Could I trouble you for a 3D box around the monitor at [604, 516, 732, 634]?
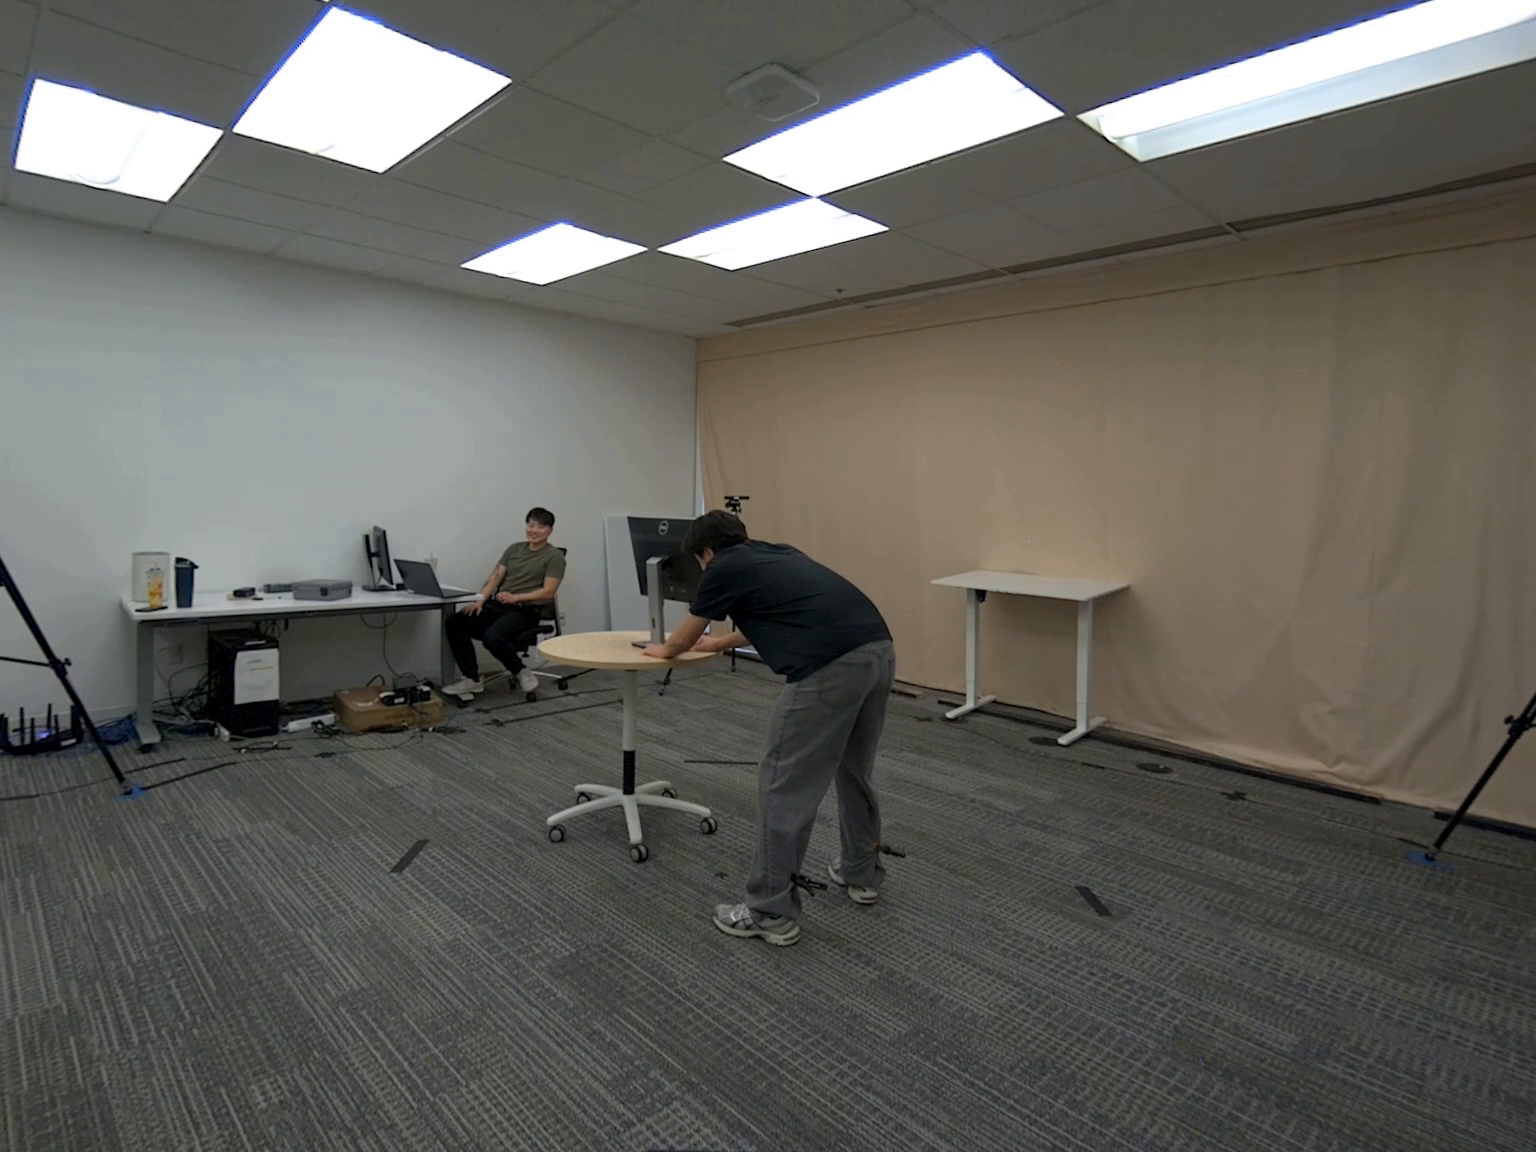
[{"bbox_3d":[-0.438,0.031,3.450,0.206,0.551,0.580,-10,11,-43],"label":"monitor"}]
